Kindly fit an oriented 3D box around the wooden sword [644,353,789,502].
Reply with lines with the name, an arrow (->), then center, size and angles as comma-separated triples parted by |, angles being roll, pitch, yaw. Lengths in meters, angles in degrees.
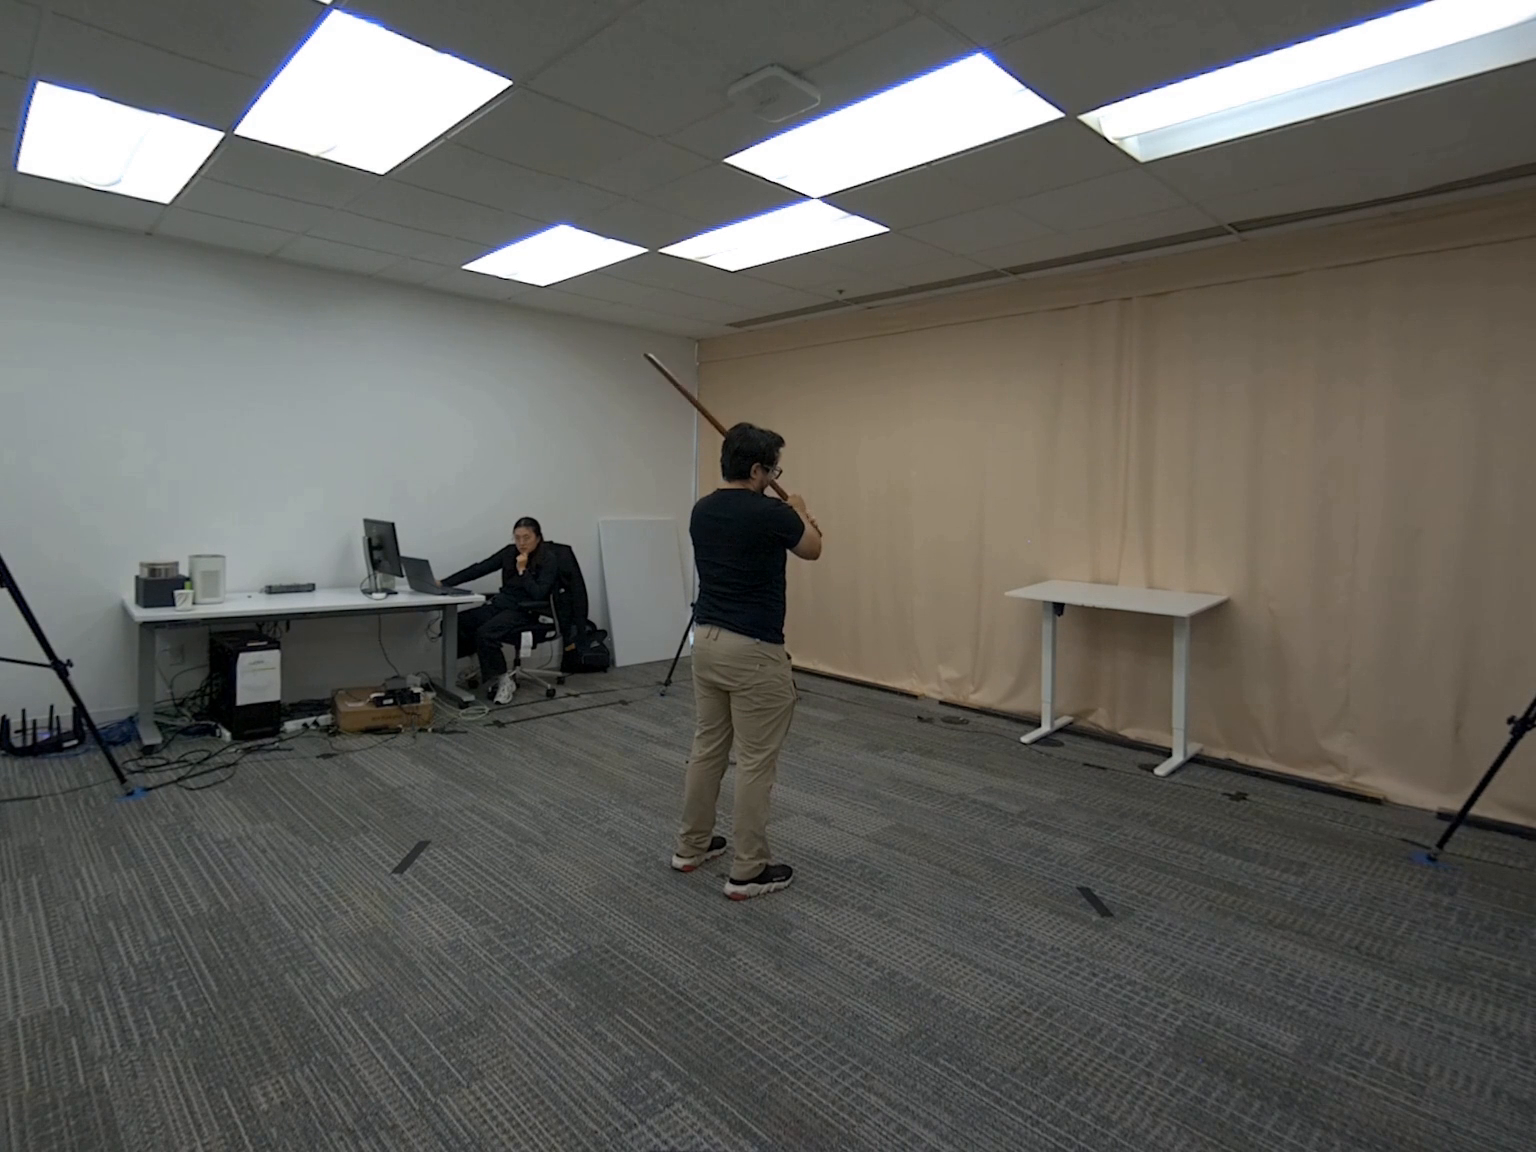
wooden sword -> -0.127, -0.492, 3.260 | 0.051, 1.001, 0.024 | -33, 27, 27
